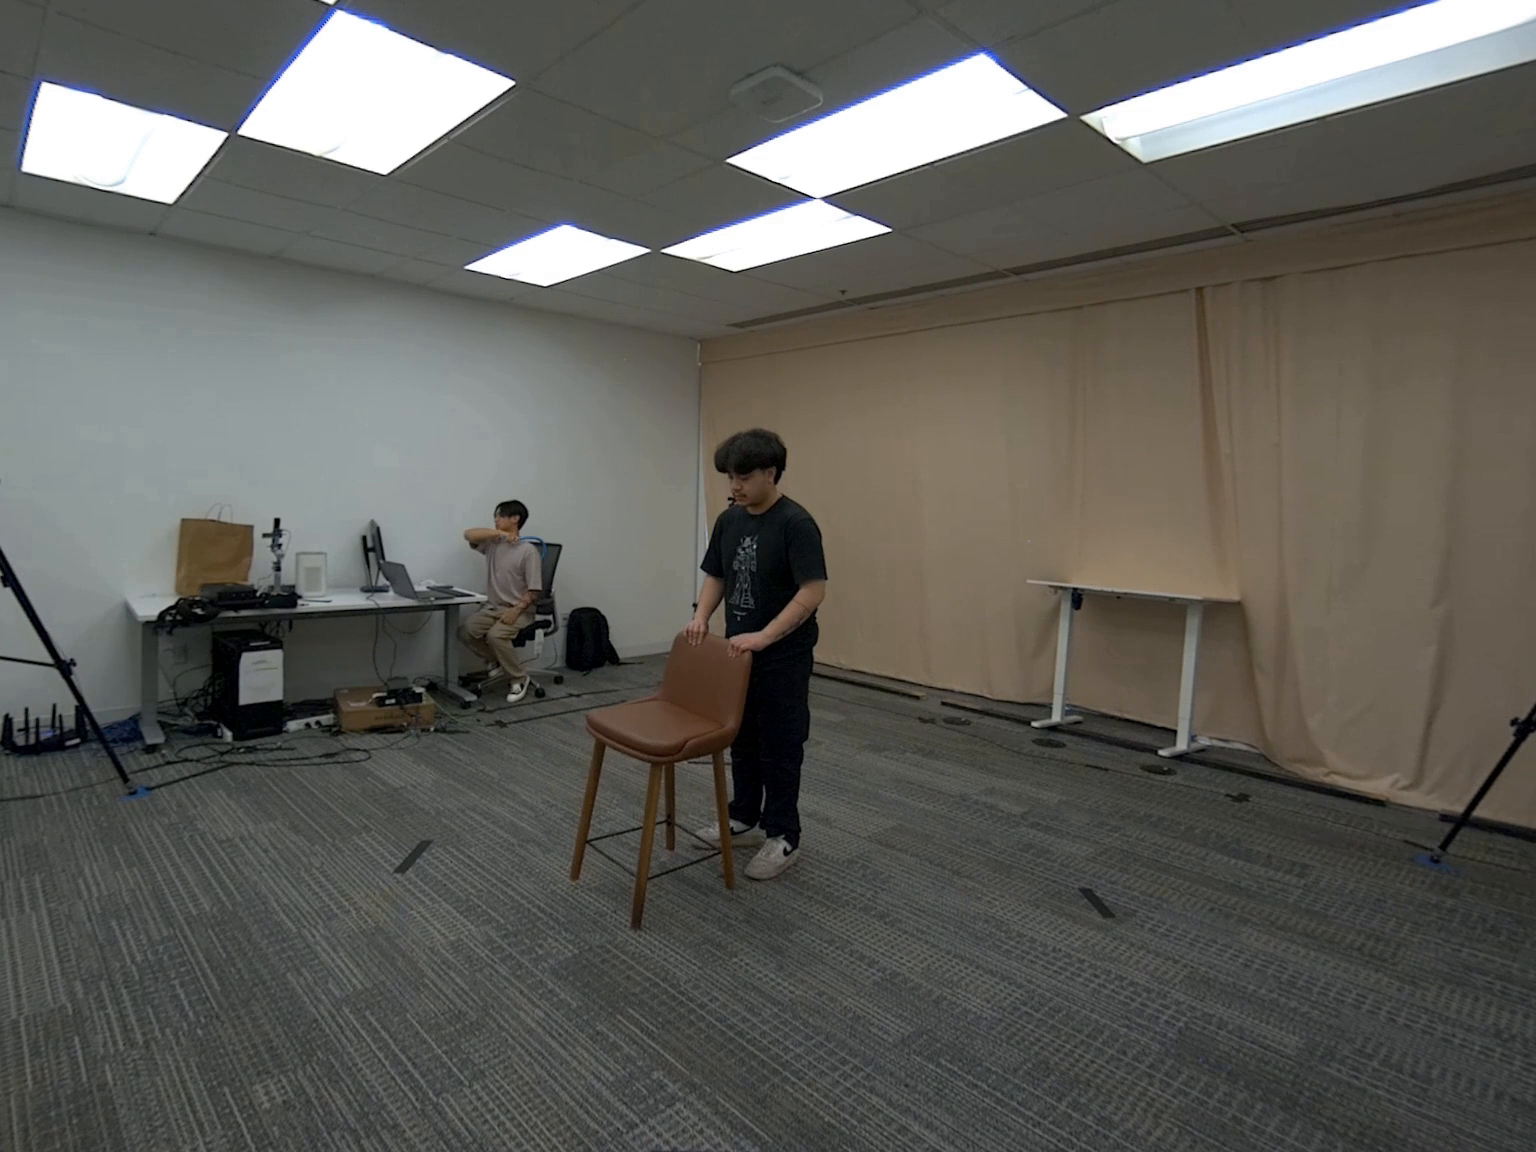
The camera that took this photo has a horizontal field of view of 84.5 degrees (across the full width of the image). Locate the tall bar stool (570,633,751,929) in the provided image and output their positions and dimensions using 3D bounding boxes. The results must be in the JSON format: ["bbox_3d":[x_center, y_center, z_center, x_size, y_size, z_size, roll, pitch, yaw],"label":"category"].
[{"bbox_3d":[-0.371,0.670,2.949,0.456,0.887,0.469,1,6,-43],"label":"tall bar stool"}]
